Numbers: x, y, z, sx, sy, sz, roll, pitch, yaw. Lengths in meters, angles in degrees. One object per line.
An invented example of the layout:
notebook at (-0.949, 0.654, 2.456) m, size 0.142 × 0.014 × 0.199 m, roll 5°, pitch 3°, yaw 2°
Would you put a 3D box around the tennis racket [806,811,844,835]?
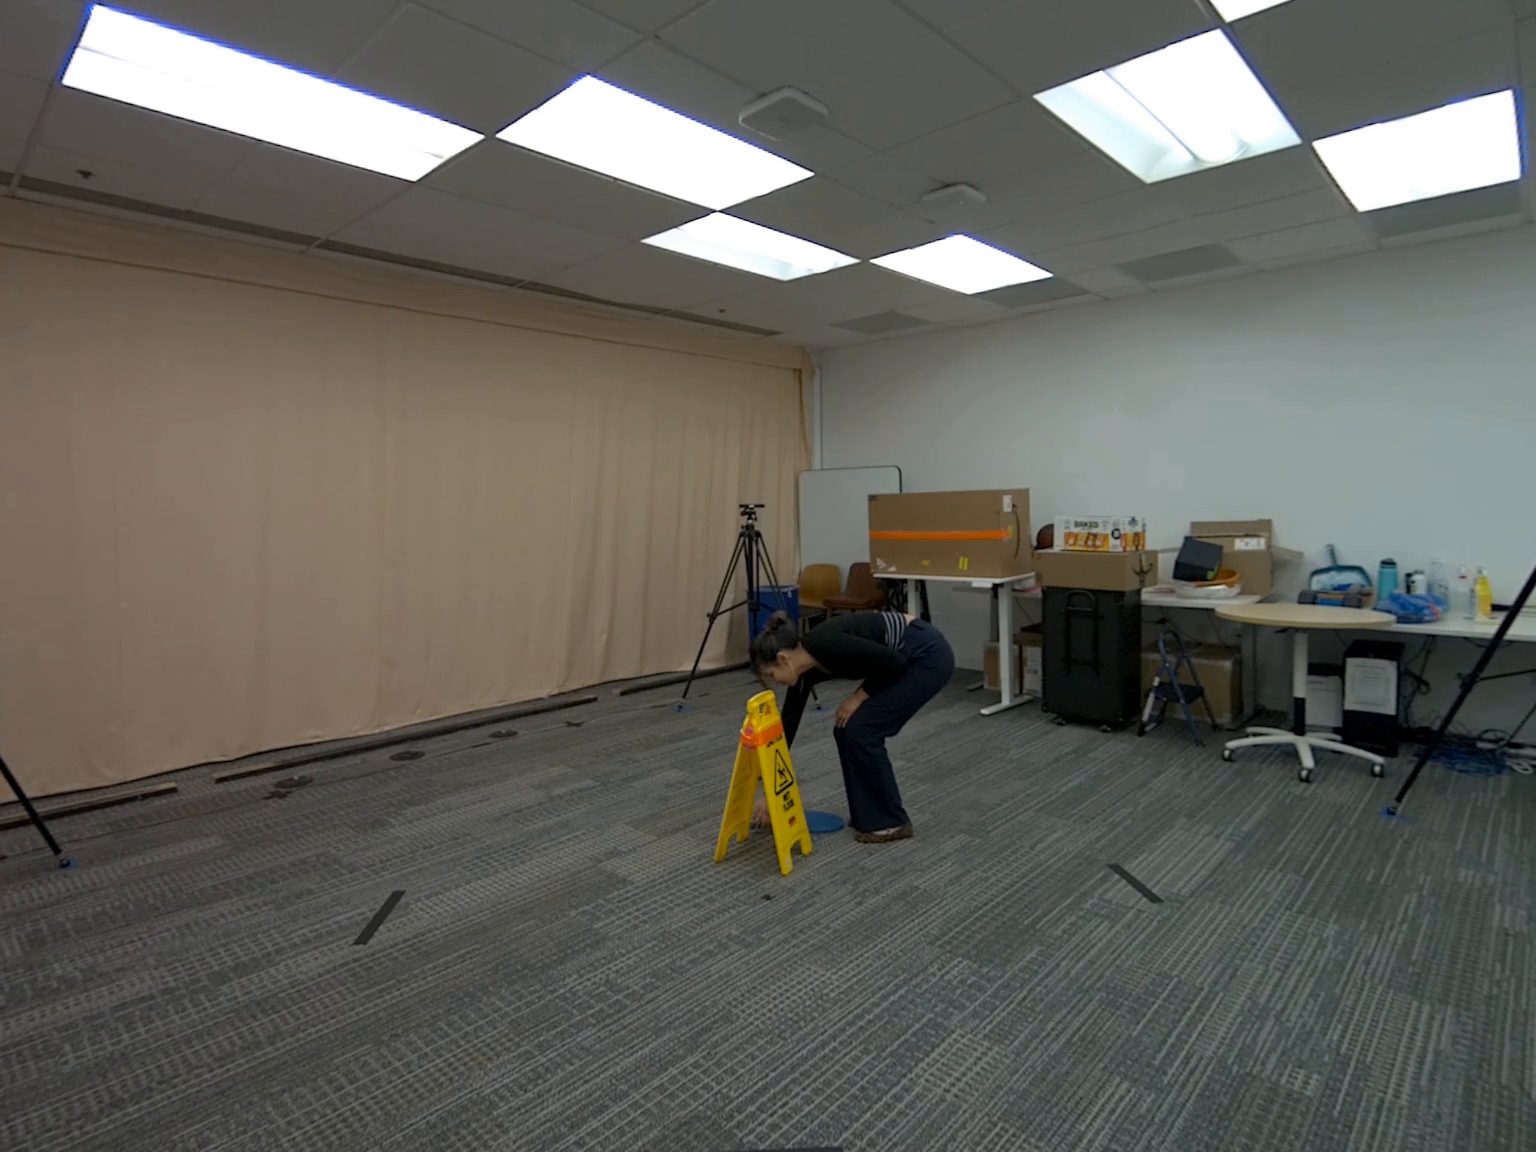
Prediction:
tennis racket at (0.121, 1.061, 3.617) m, size 0.423 × 0.032 × 0.219 m, roll 1°, pitch 5°, yaw -22°
